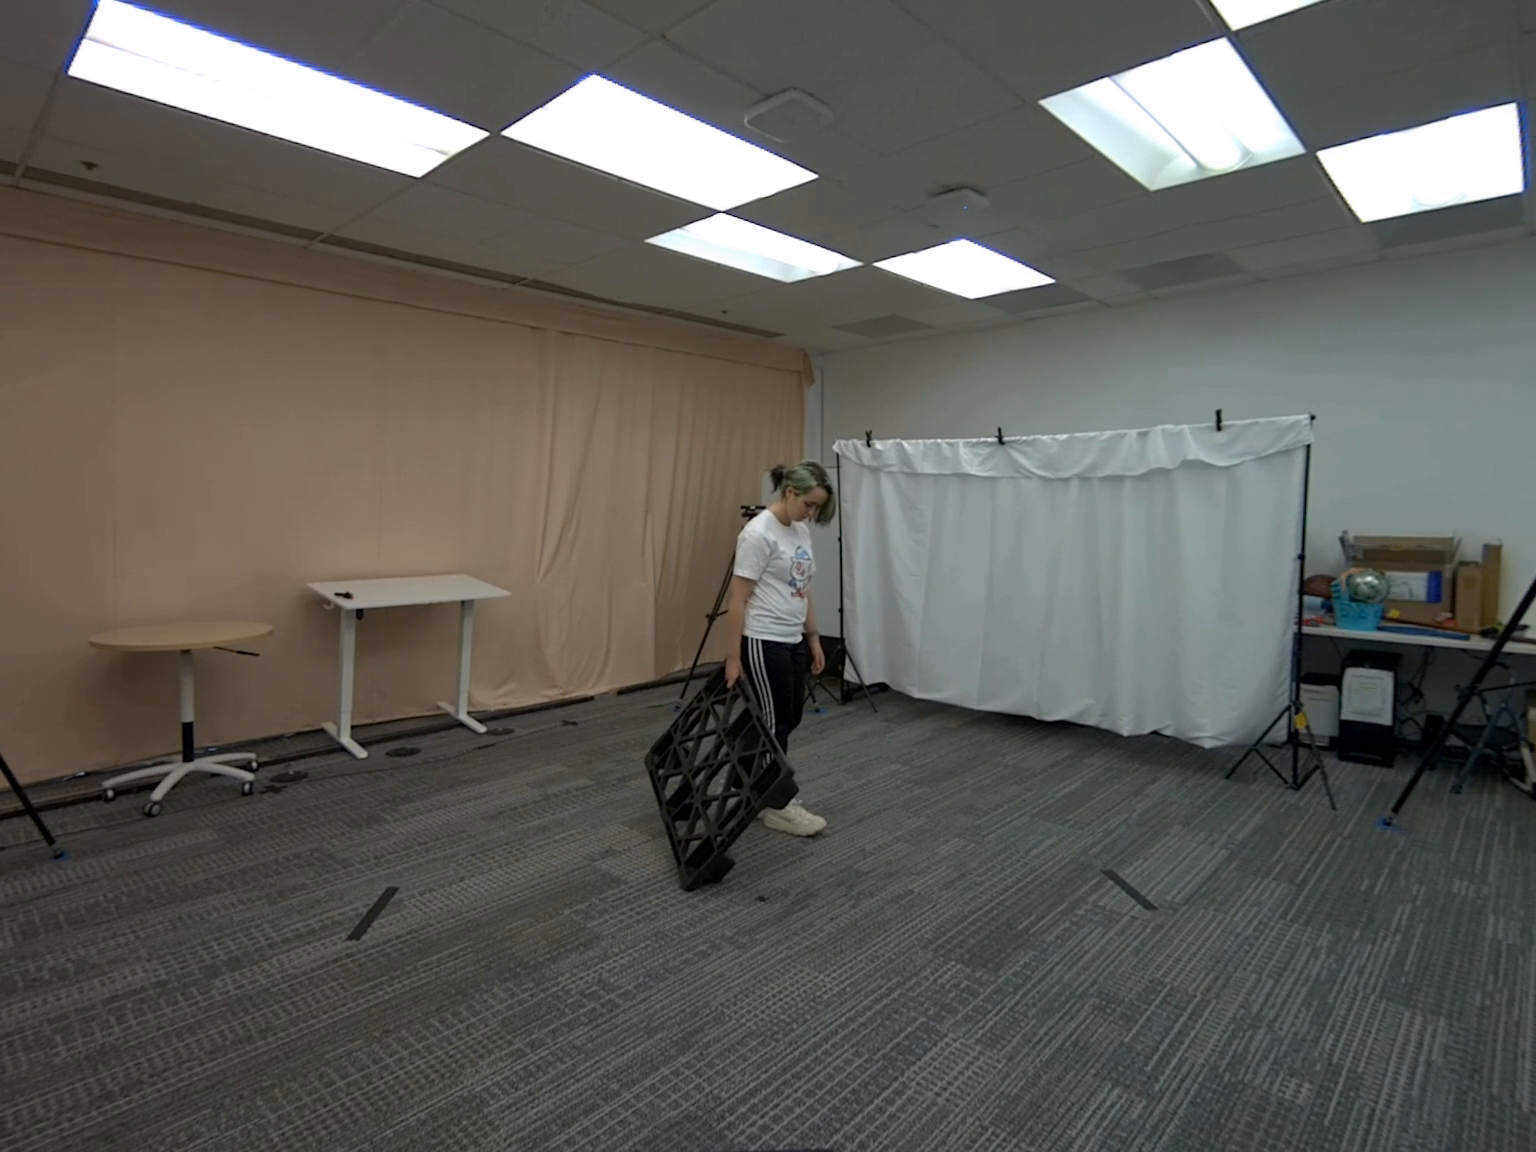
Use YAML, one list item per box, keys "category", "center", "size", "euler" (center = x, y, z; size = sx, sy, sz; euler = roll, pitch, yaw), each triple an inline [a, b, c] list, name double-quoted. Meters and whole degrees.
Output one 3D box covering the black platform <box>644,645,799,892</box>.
- category: "black platform"
  center: [-0.195, 0.769, 3.365]
  size: [0.139, 0.606, 0.828]
  euler: [33, 10, -28]
